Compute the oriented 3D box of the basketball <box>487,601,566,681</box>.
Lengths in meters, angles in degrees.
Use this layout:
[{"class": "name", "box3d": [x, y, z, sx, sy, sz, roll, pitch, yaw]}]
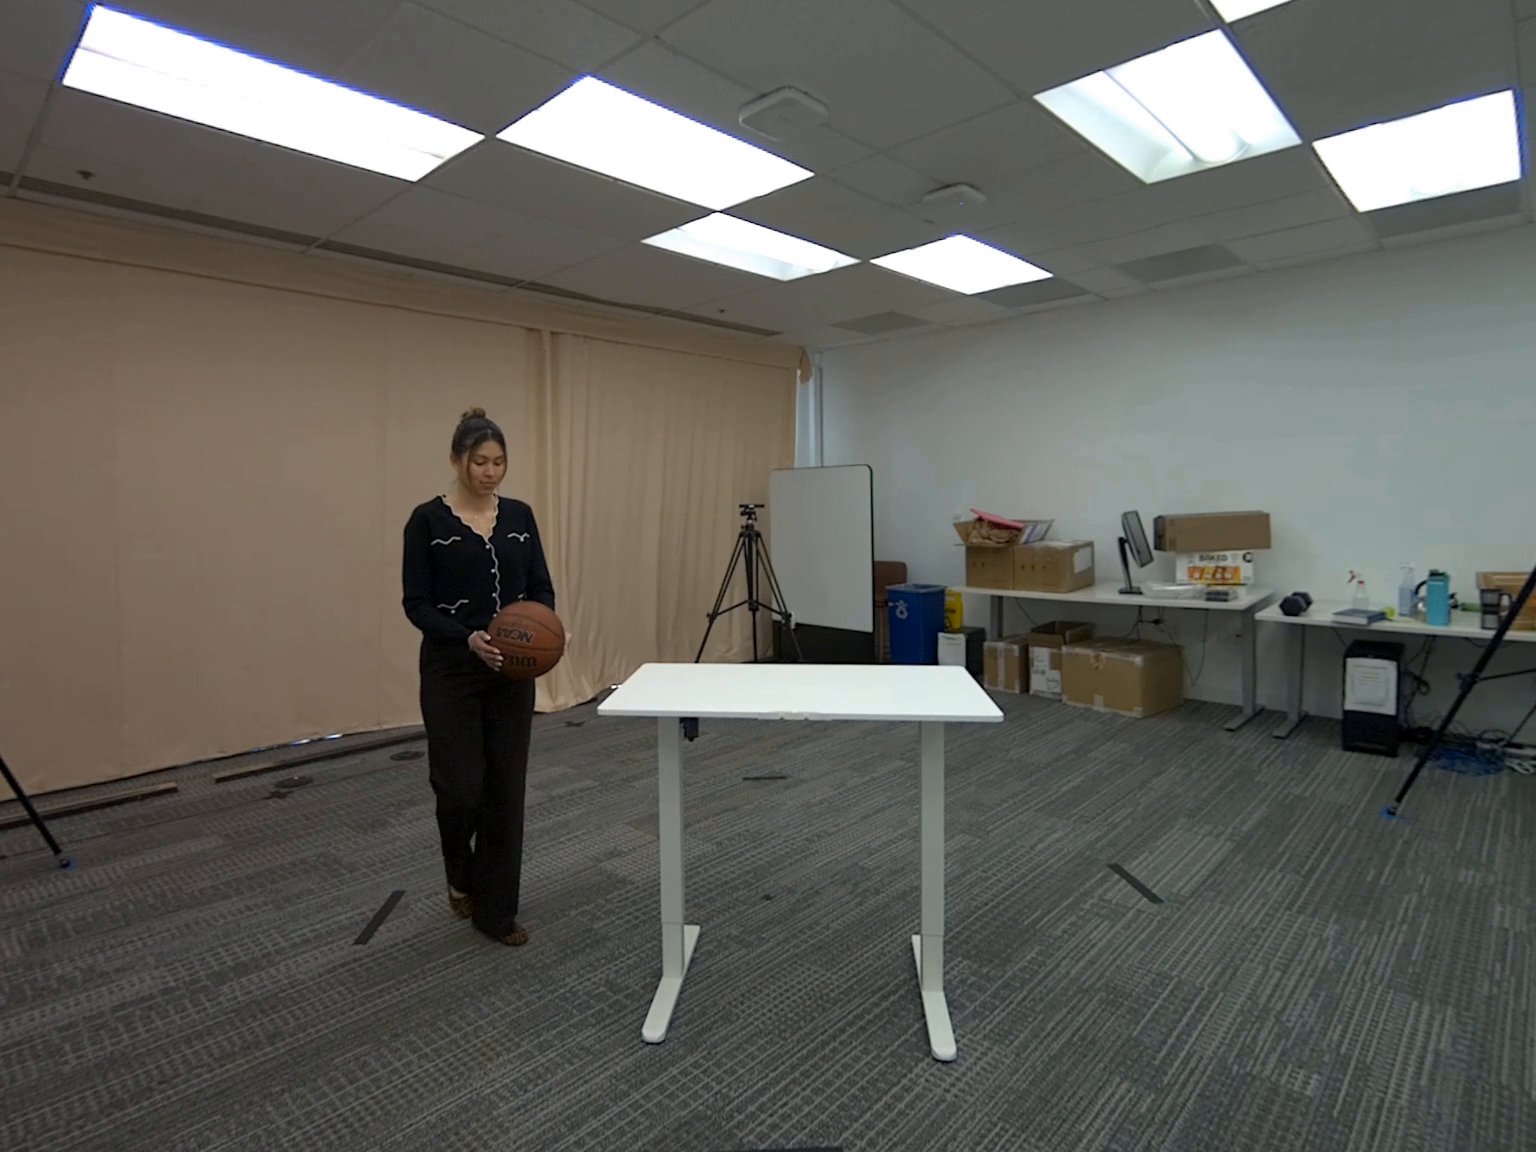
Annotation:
[{"class": "basketball", "box3d": [-0.741, 0.199, 2.553, 0.236, 0.235, 0.237, -1, 4, -2]}]
